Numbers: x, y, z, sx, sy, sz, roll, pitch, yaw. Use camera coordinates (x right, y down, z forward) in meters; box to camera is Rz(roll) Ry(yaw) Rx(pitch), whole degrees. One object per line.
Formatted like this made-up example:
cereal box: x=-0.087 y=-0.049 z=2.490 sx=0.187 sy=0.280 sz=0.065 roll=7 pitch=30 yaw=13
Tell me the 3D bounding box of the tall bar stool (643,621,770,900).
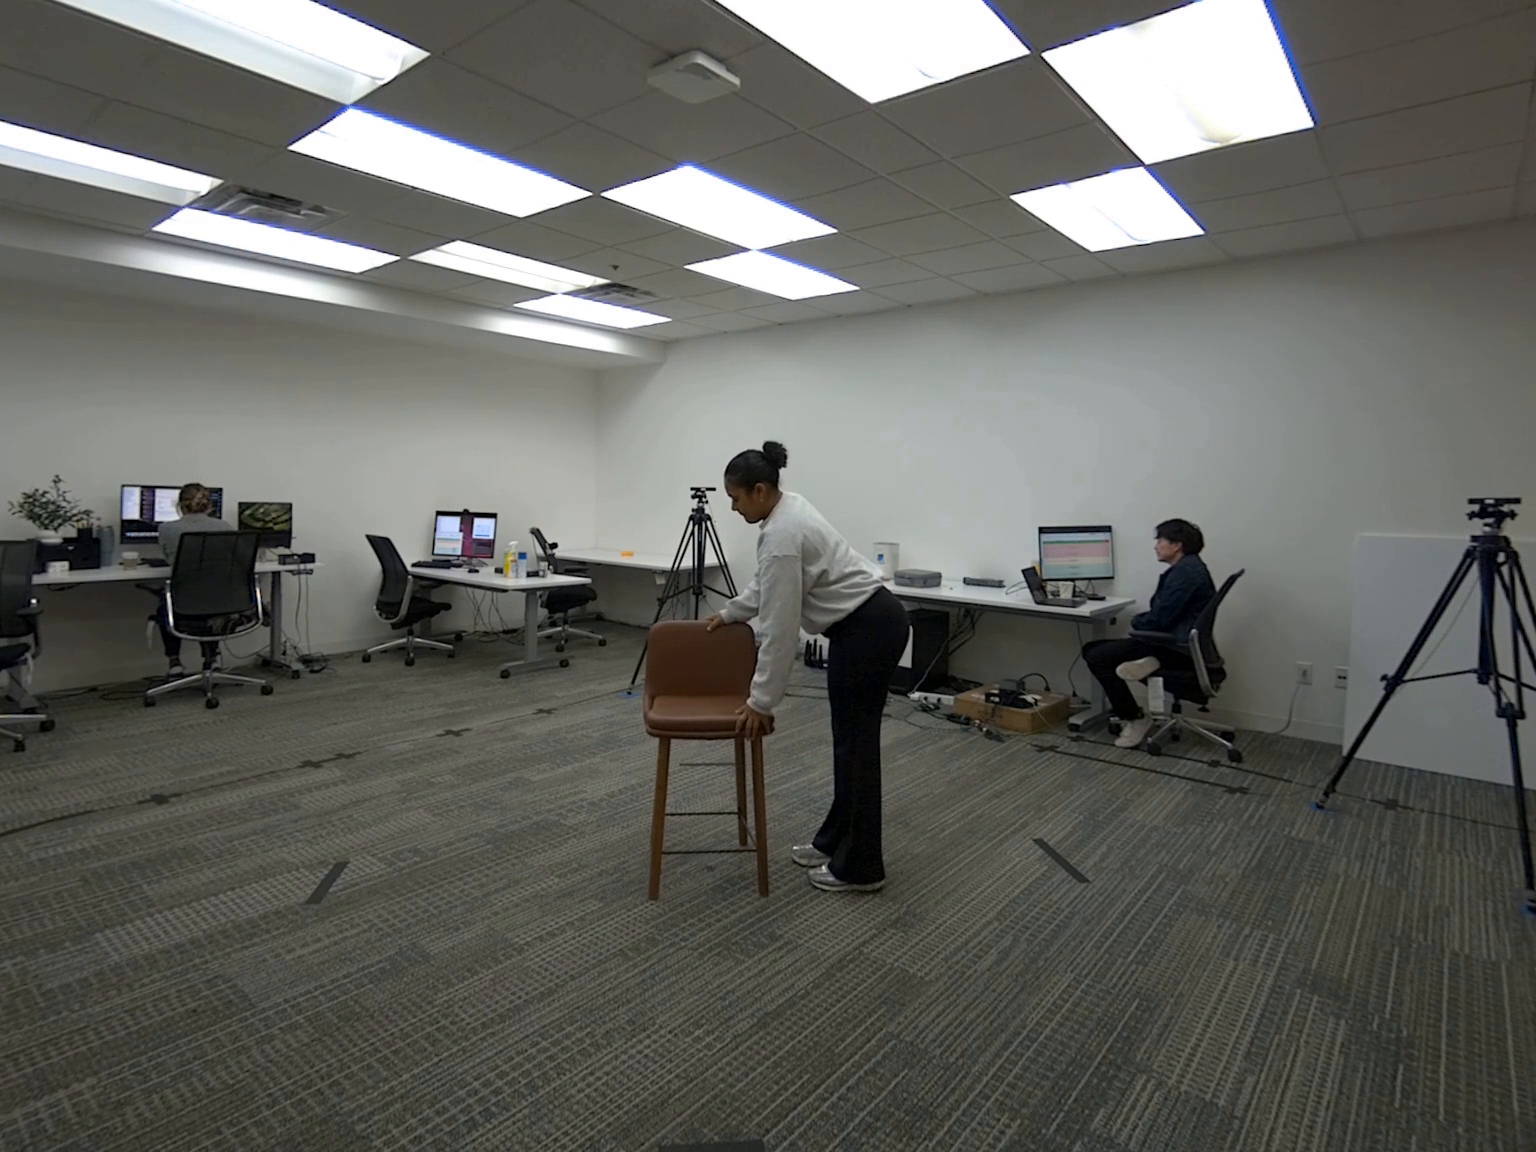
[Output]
tall bar stool: x=-0.229 y=0.635 z=3.090 sx=0.453 sy=0.889 sz=0.471 roll=1 pitch=1 yaw=-7
